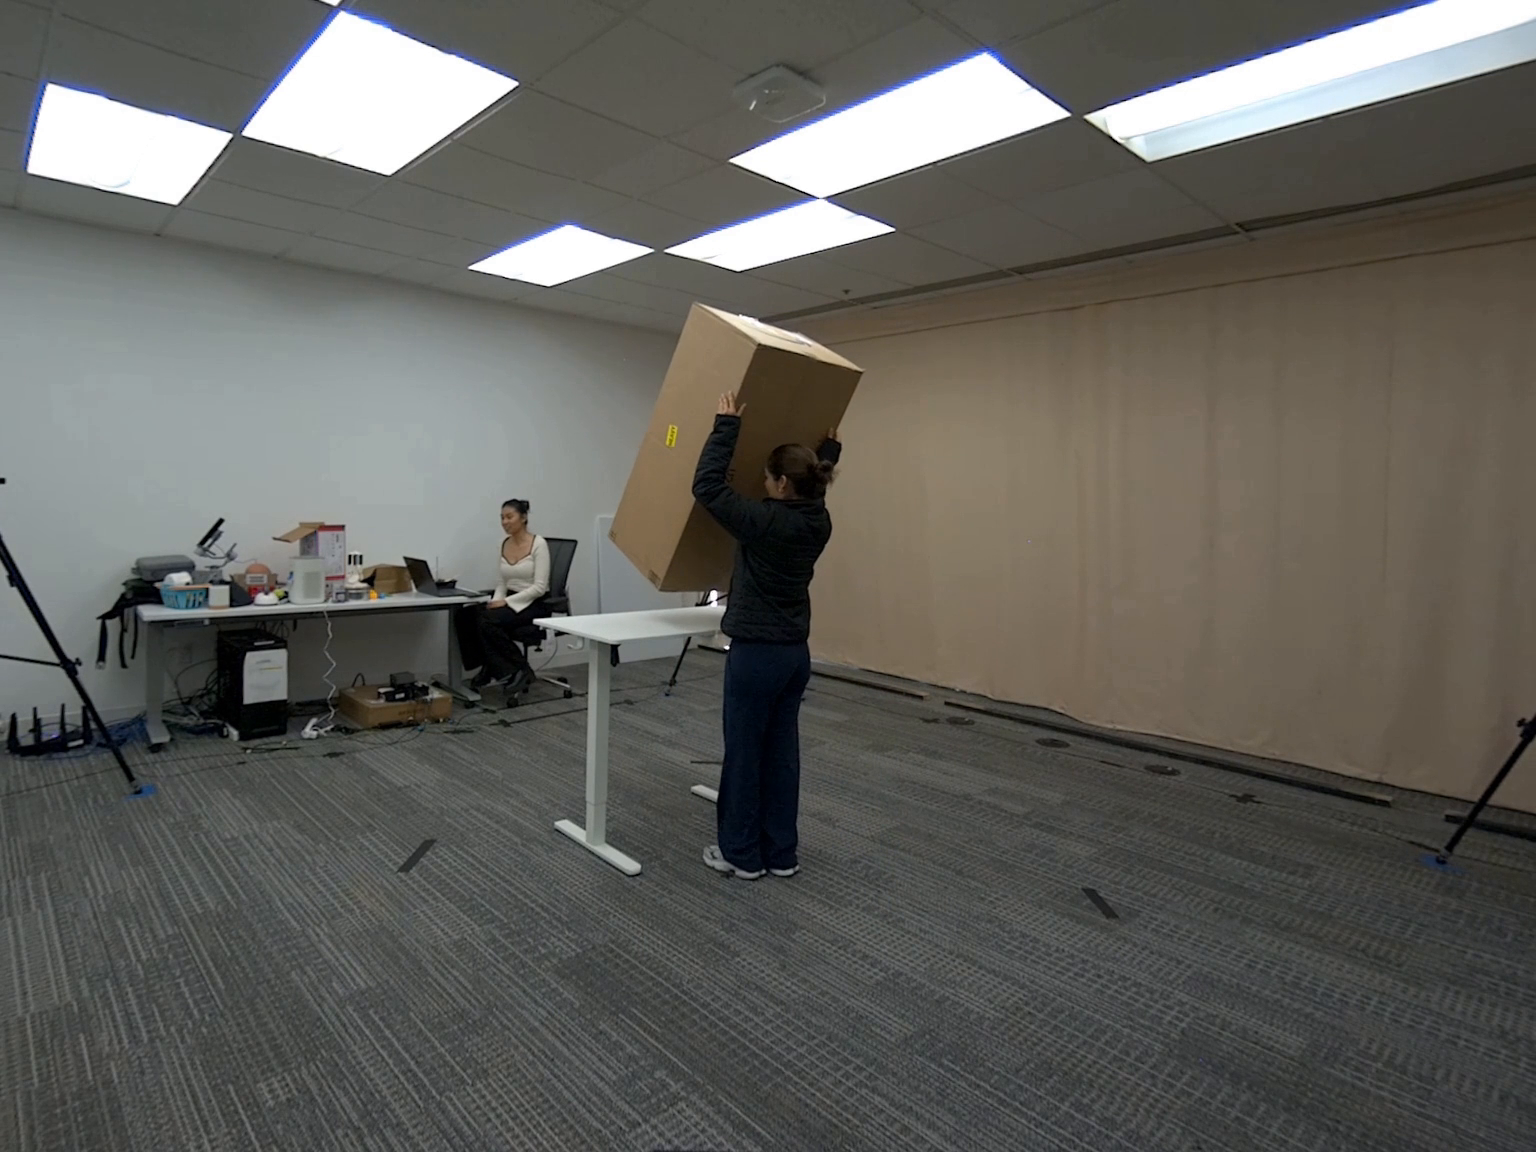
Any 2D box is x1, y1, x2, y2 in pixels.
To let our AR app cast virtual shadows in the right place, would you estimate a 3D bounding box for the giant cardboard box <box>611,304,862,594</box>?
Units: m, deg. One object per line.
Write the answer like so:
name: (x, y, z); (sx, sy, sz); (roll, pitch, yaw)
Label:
giant cardboard box: (-0.152, -0.473, 3.358); (0.569, 1.019, 0.461); (3, 29, -43)
